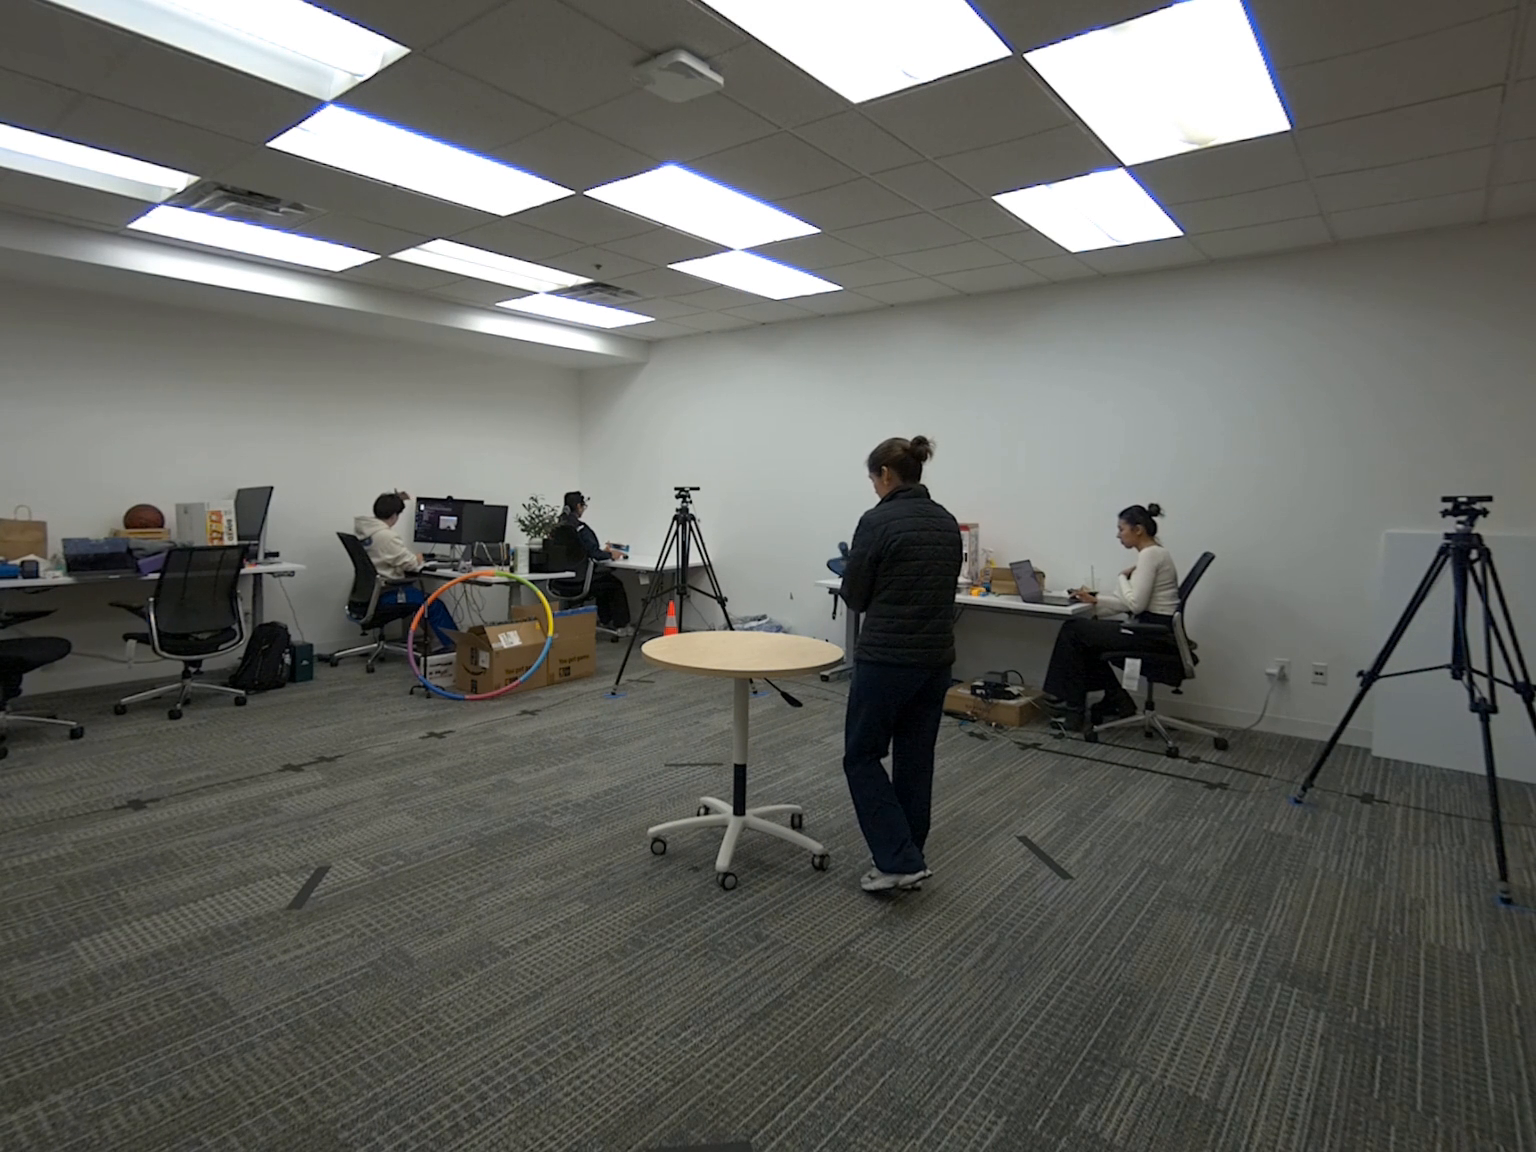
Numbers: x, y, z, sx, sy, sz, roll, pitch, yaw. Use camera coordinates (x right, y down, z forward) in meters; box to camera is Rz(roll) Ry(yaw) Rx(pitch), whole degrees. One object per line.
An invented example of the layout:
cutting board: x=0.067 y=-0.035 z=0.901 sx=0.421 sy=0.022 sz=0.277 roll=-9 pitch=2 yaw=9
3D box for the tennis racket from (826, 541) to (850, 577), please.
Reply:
tennis racket: x=0.349 y=-0.063 z=3.312 sx=0.218 sy=0.032 sz=0.421 roll=14 pitch=-16 yaw=14
